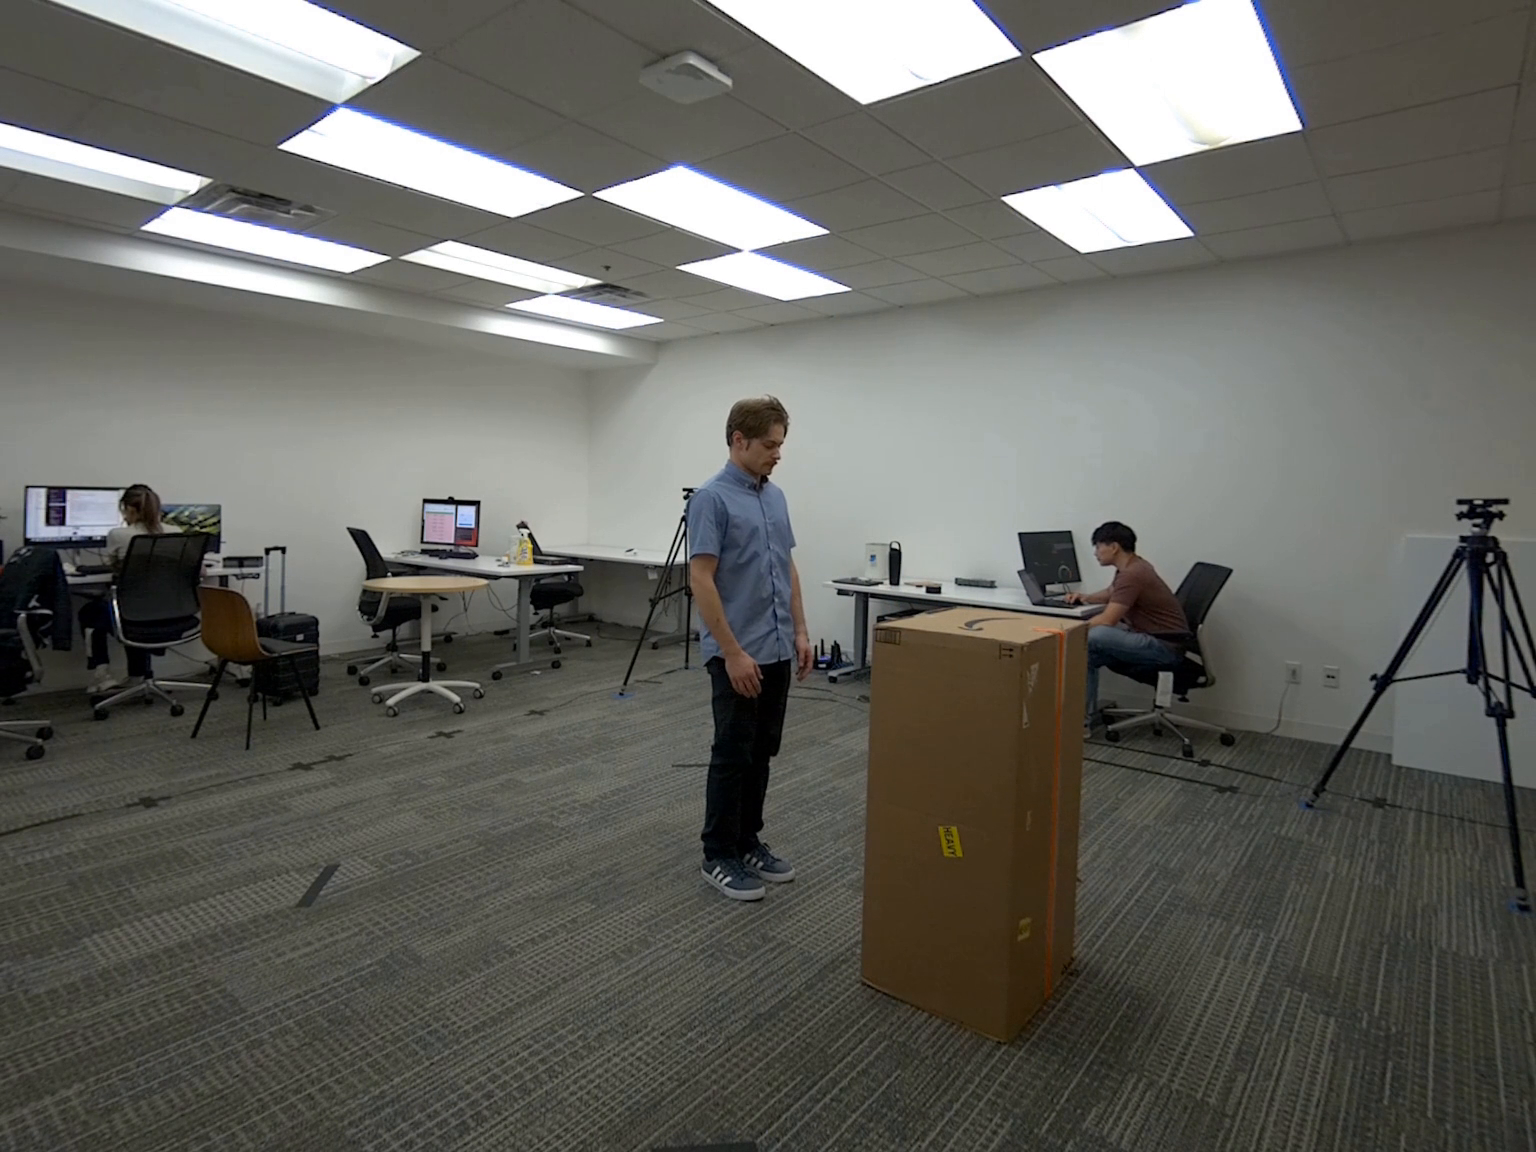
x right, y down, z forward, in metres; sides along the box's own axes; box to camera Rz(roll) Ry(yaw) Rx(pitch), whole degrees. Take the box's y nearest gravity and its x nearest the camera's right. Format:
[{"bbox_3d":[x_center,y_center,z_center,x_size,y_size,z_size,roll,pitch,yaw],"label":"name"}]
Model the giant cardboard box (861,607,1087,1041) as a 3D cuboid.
[{"bbox_3d":[0.609,0.640,2.475,0.440,1.023,0.560,3,4,37],"label":"giant cardboard box"}]
